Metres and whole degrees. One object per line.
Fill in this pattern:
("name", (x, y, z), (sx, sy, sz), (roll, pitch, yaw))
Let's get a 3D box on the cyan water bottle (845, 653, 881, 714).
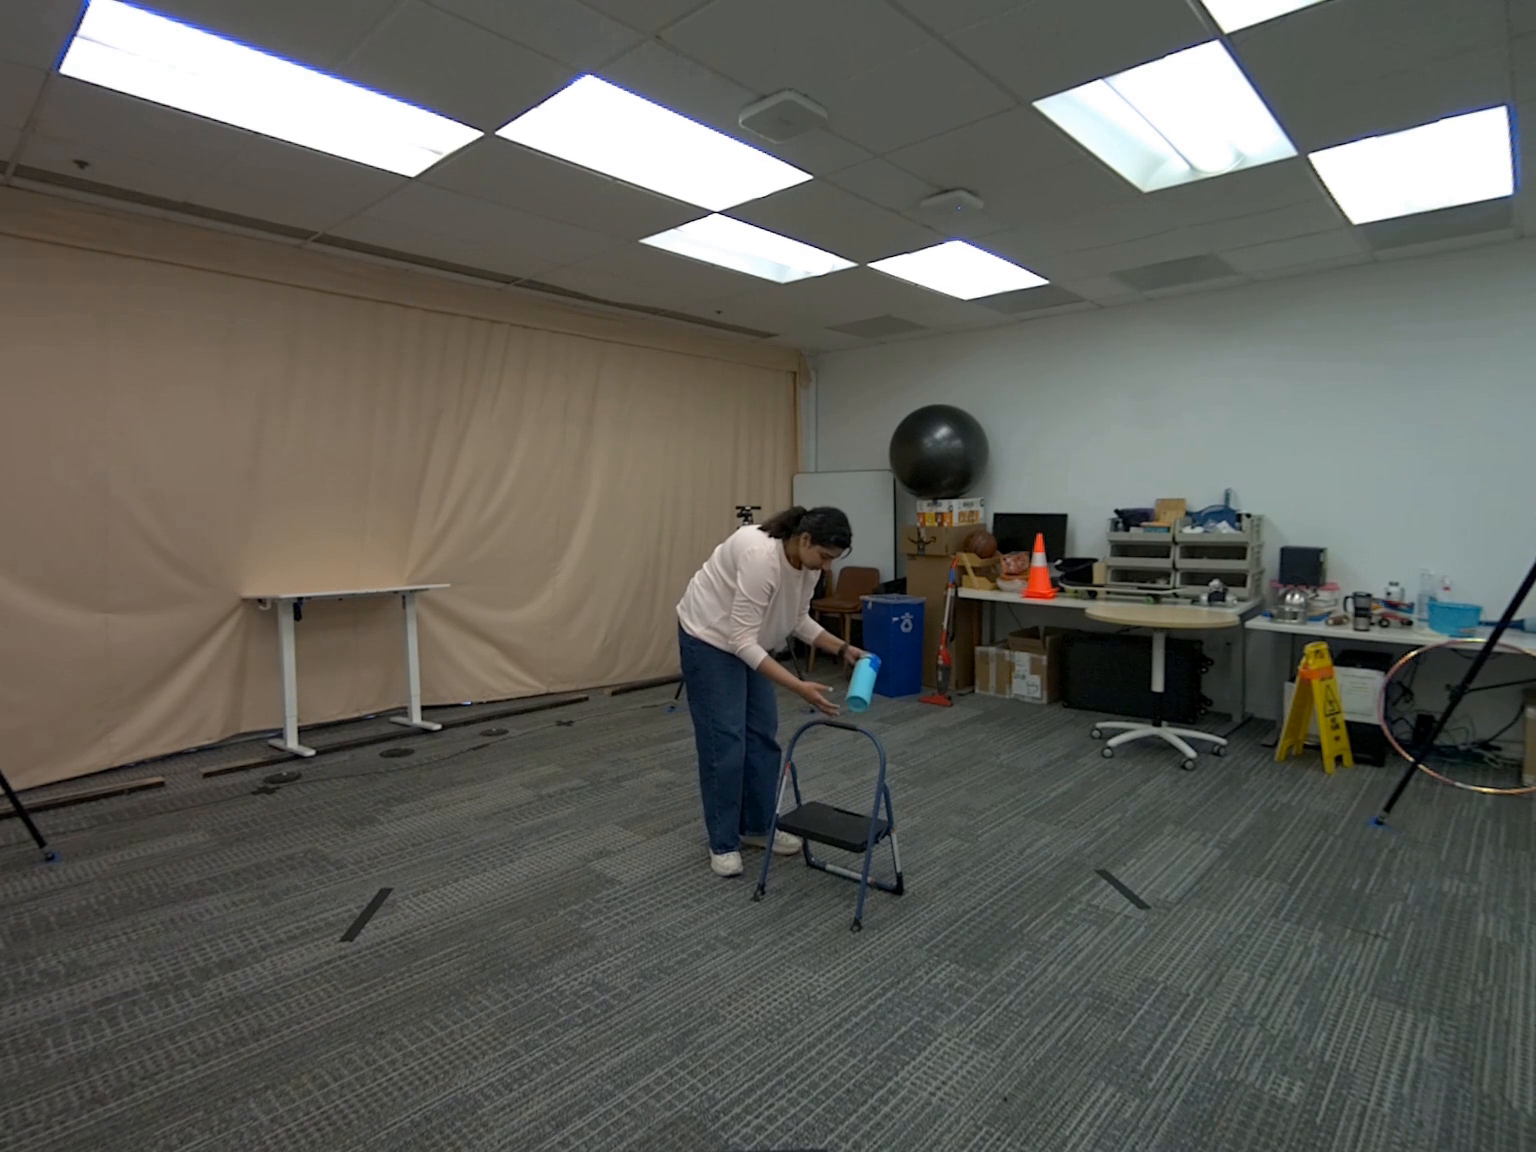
("cyan water bottle", (0.365, 0.401, 3.215), (0.094, 0.090, 0.284), (0, 33, 16))
